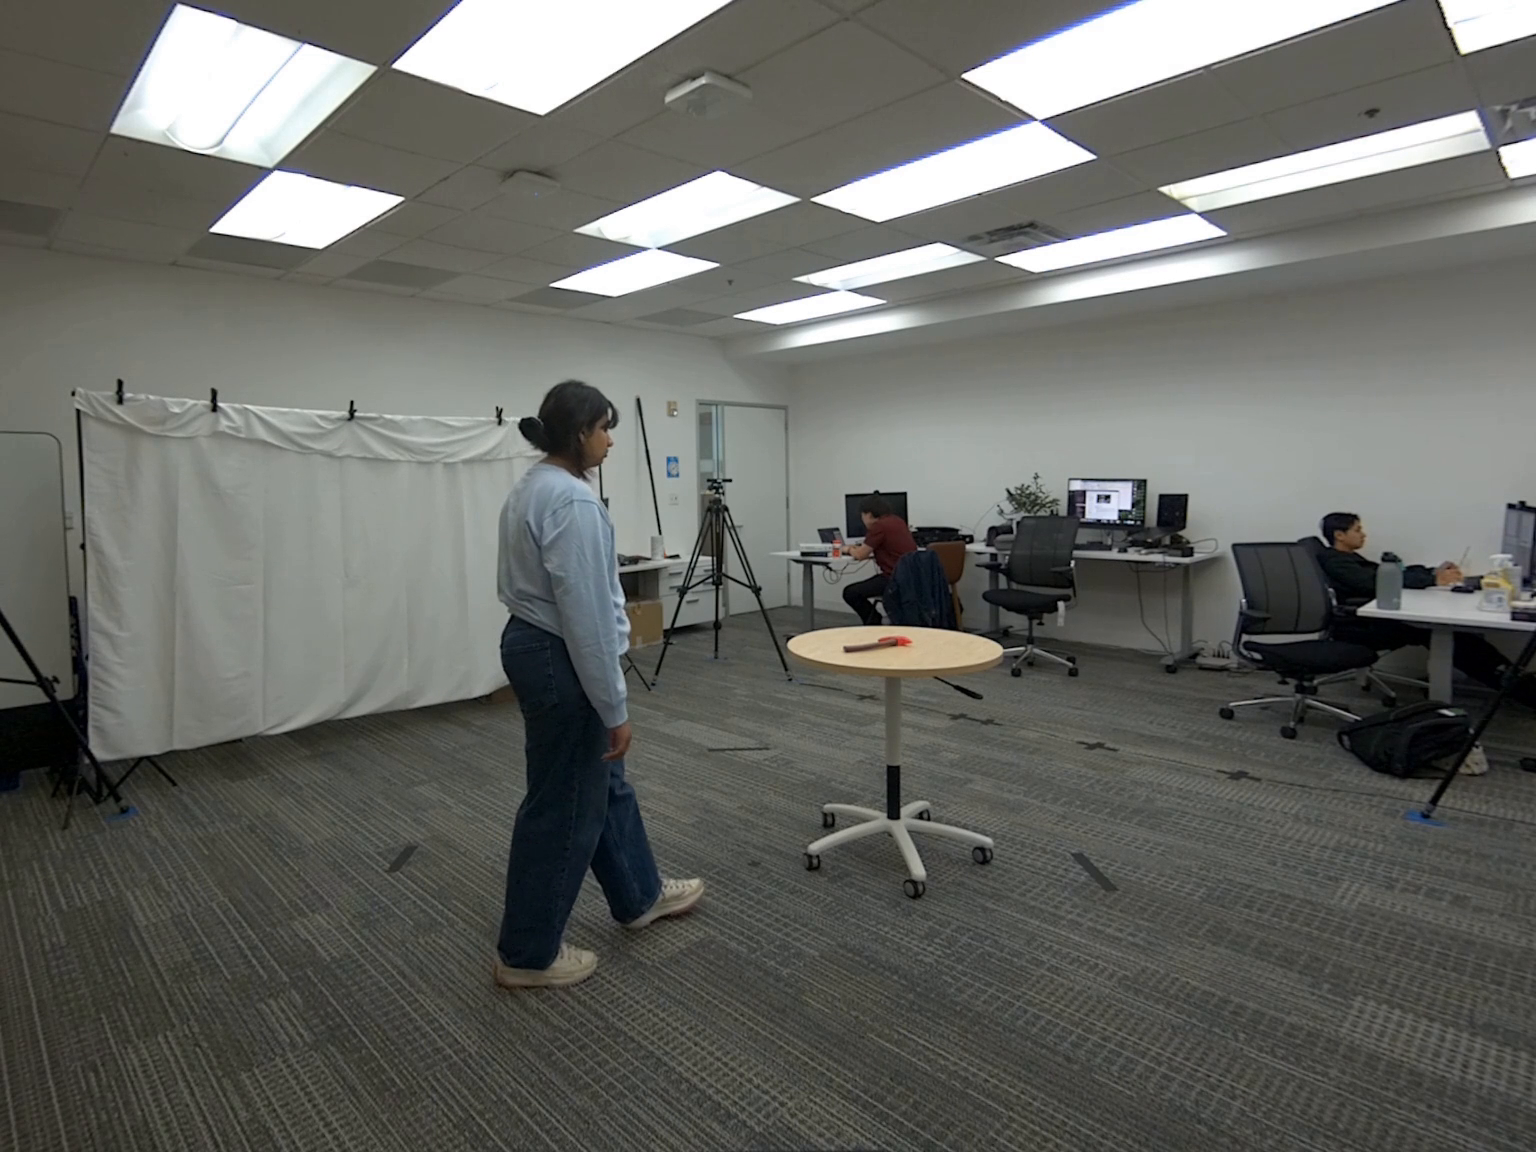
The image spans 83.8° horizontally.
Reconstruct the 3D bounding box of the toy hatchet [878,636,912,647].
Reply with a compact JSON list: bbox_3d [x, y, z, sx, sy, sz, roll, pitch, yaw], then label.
[{"bbox_3d":[0.383,0.242,3.085,0.266,0.029,0.134,-4,7,-18],"label":"toy hatchet"}]
